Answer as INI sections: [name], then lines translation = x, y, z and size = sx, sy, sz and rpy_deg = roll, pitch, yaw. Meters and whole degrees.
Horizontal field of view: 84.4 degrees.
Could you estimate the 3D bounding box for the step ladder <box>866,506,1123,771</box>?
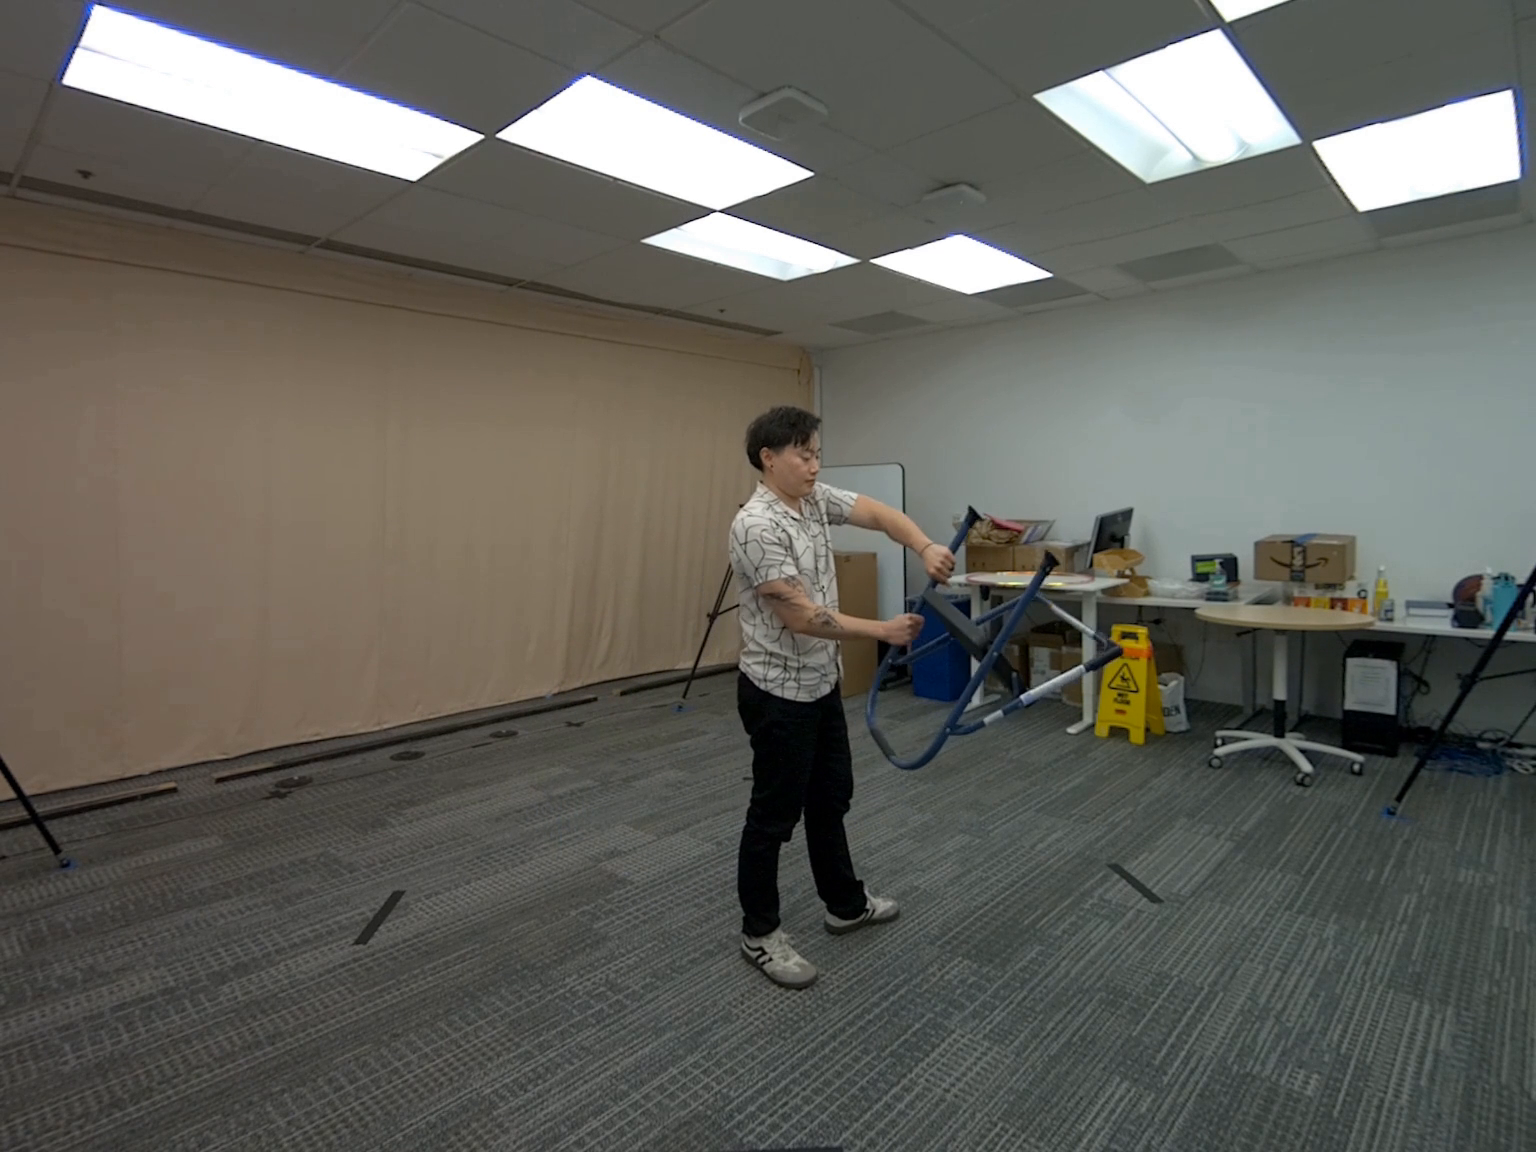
[step ladder]
translation = 0.496, 0.191, 2.152
size = 0.607, 0.342, 0.438
rpy_deg = -41, 19, 5
